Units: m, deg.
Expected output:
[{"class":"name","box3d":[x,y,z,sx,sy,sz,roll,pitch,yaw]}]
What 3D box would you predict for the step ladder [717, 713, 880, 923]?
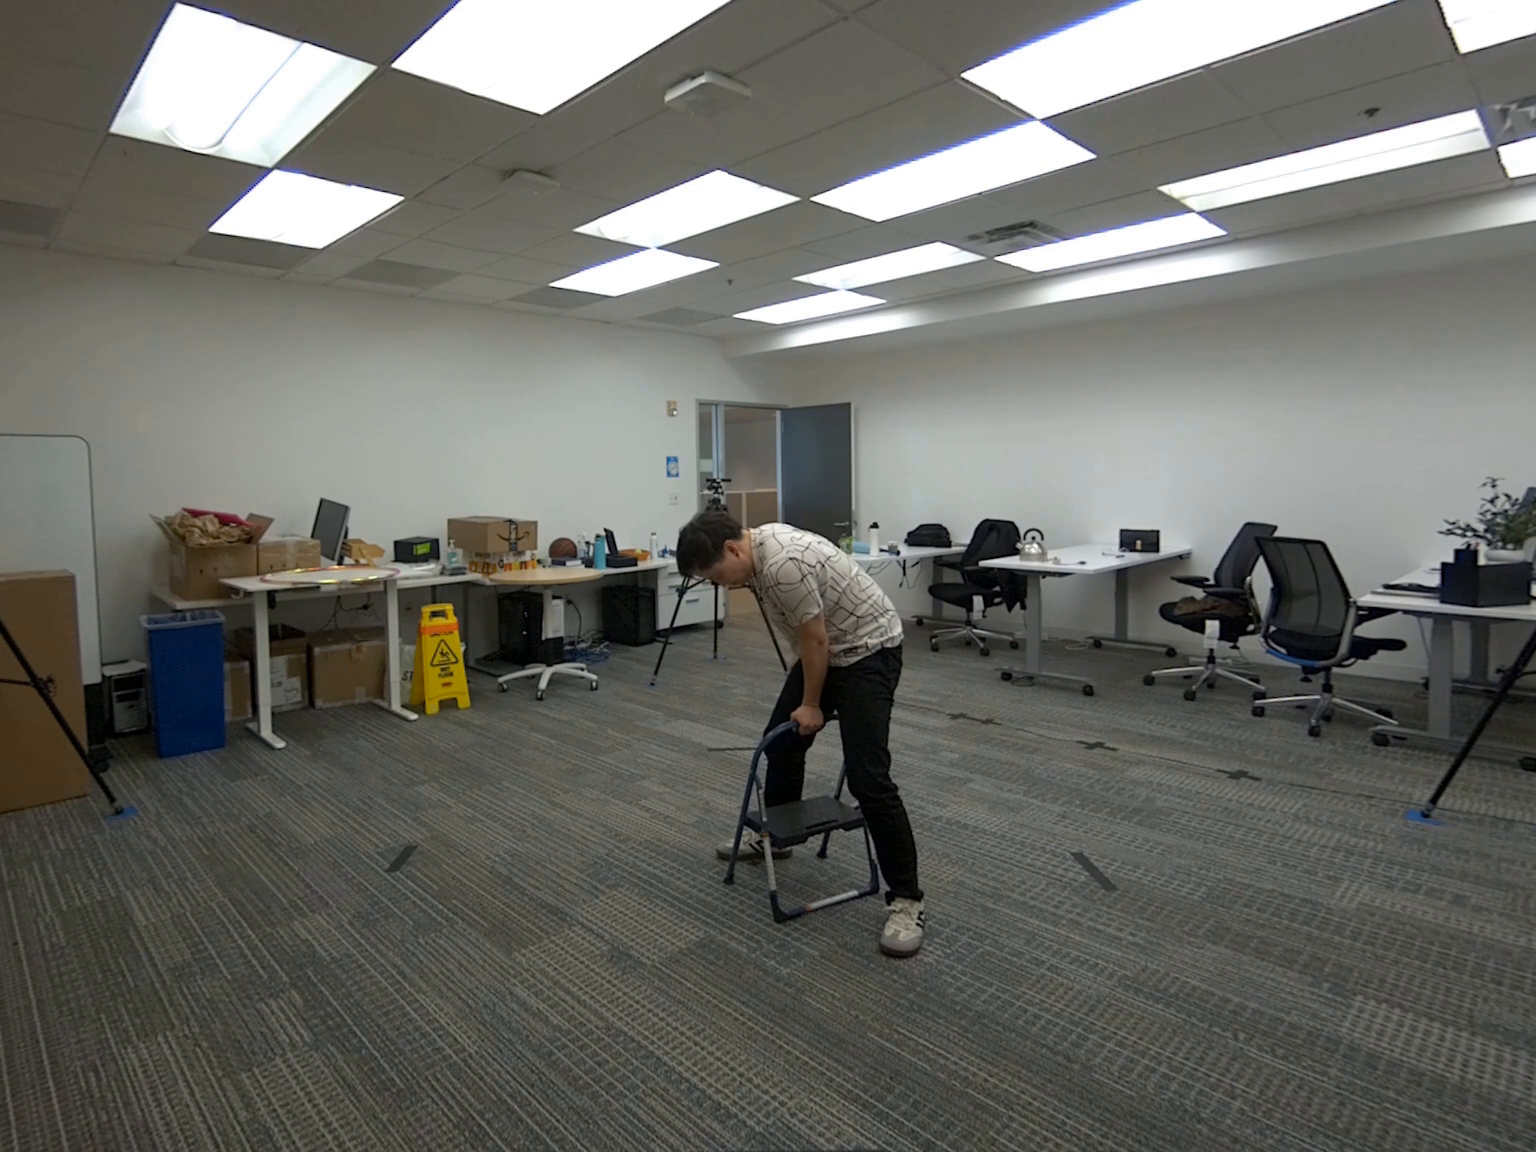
[{"class":"step ladder","box3d":[0.112,0.761,2.898,0.420,0.604,0.359,-3,5,-31]}]
